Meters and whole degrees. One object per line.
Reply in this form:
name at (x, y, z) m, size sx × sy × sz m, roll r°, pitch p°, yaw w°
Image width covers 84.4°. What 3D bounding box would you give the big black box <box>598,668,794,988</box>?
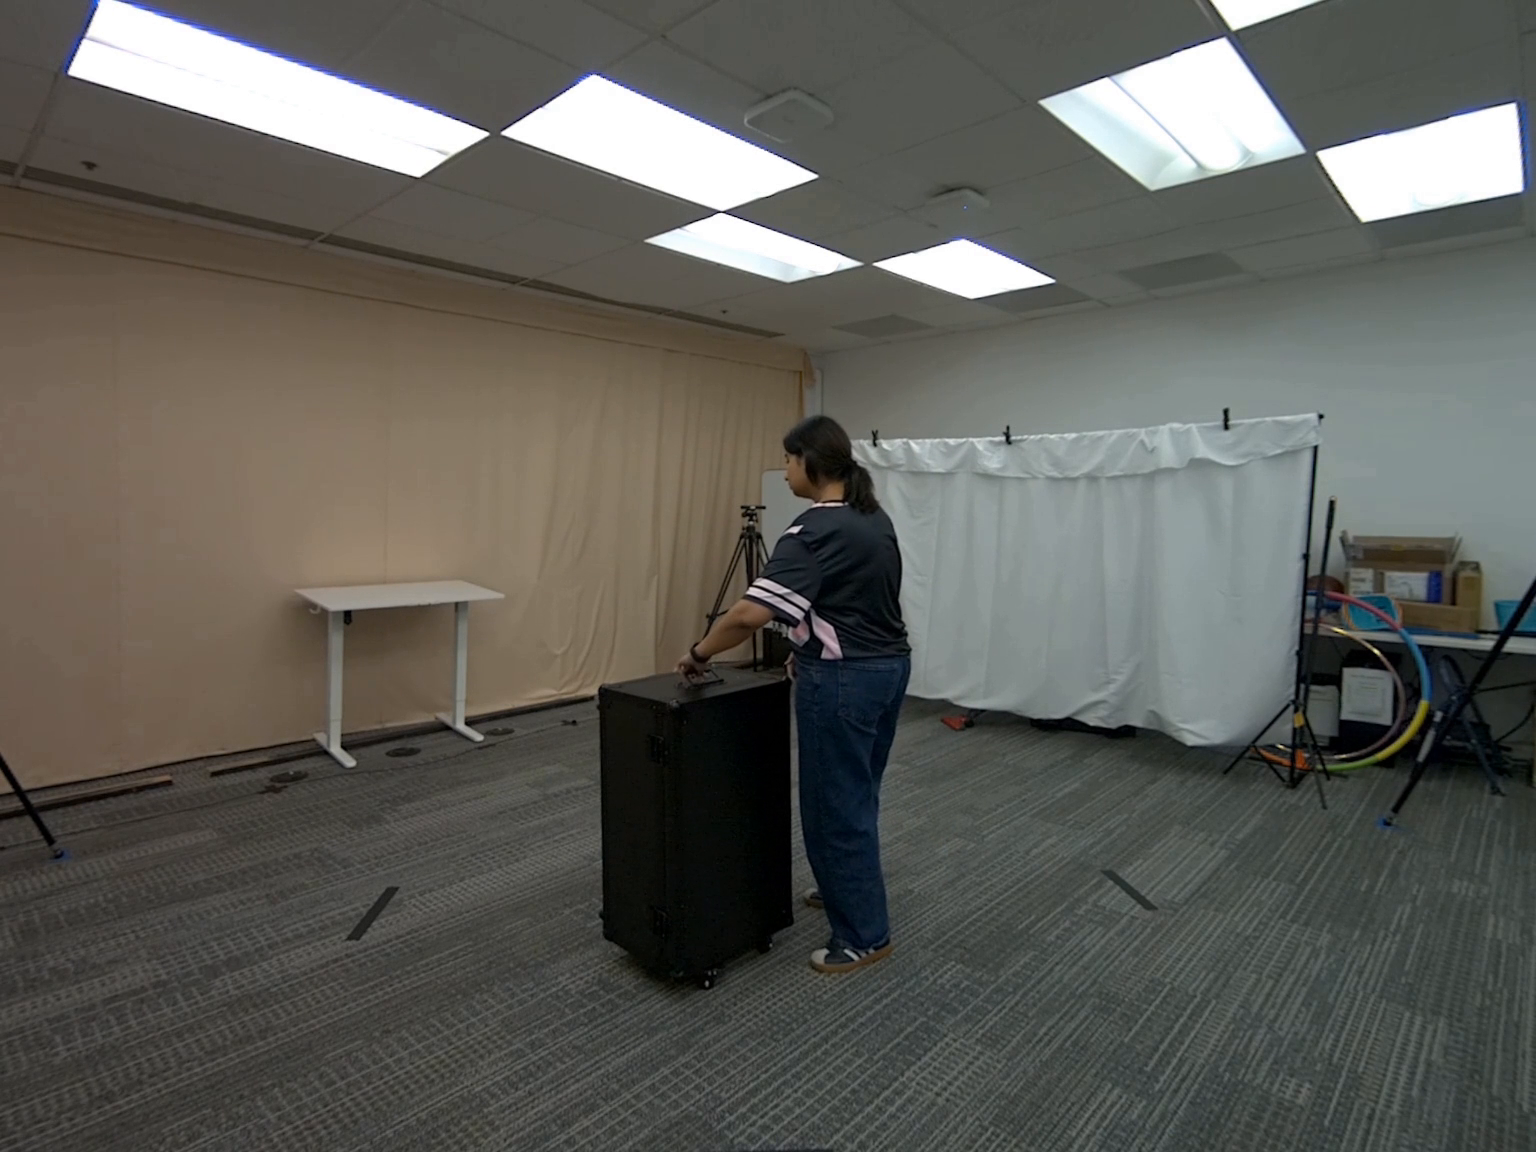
big black box at (-0.225, 0.758, 2.597) m, size 0.398 × 0.867 × 0.507 m, roll 2°, pitch 3°, yaw 44°
